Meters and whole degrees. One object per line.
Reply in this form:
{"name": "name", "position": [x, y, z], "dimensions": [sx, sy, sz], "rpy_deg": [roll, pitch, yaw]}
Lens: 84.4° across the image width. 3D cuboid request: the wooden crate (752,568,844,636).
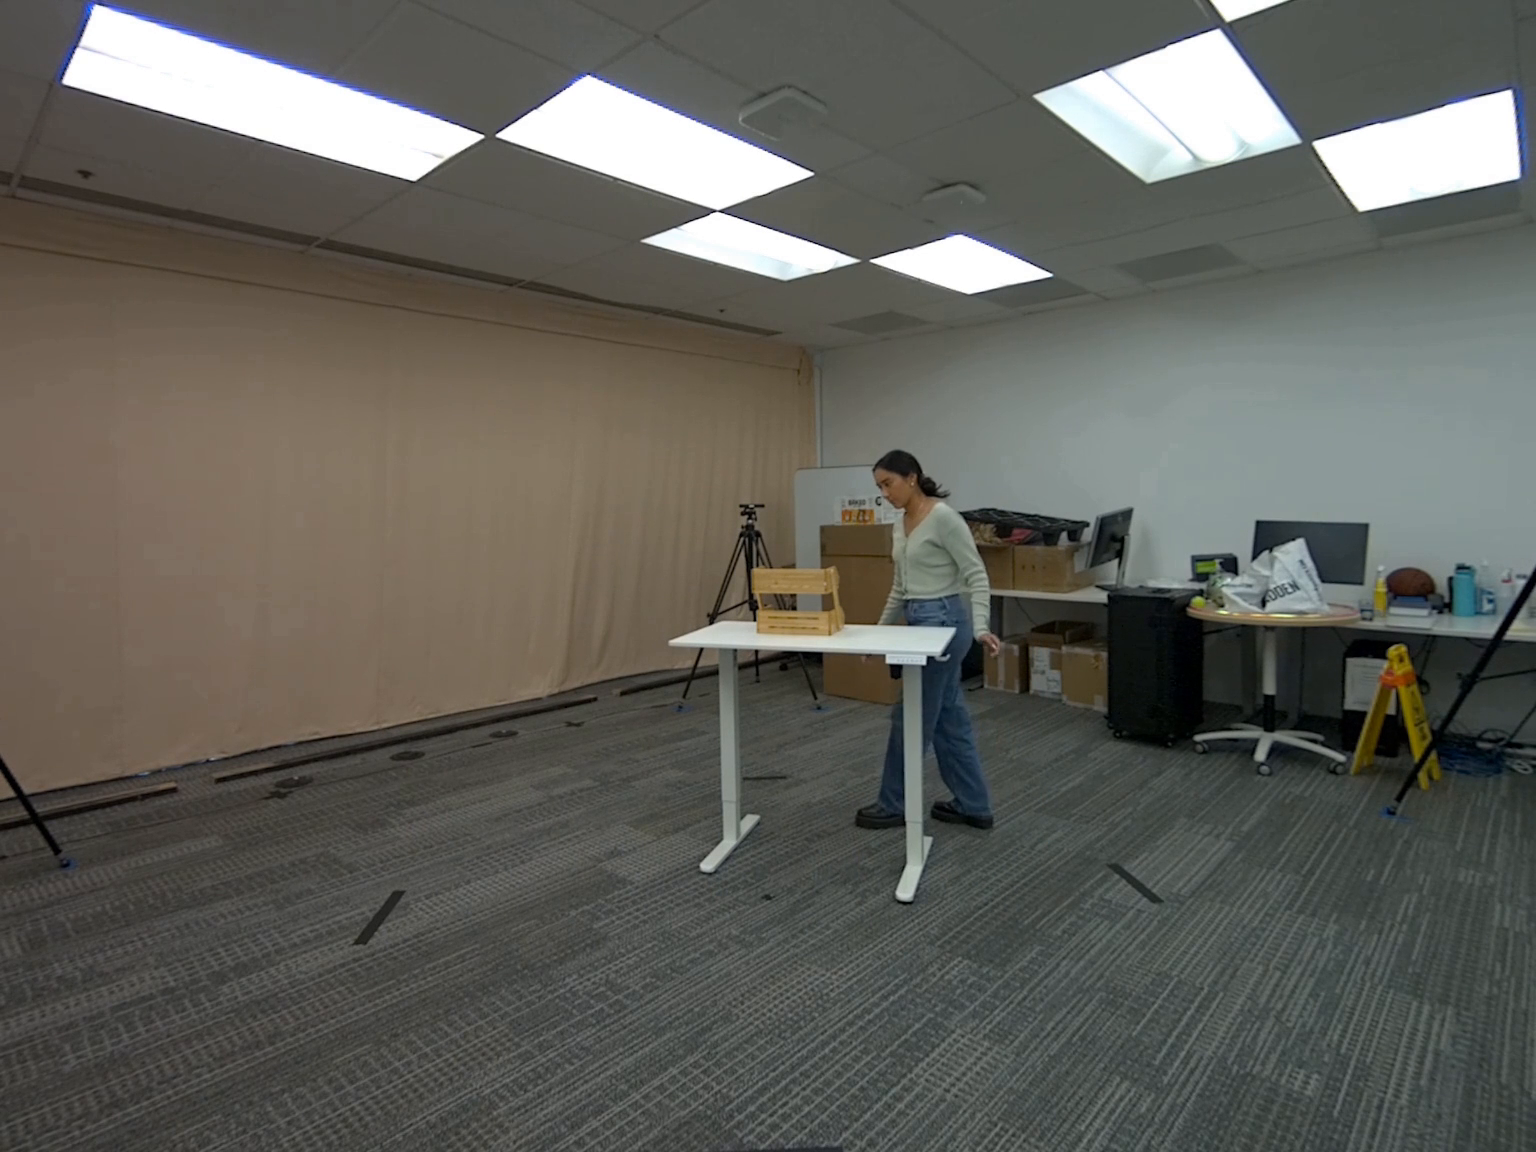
{"name": "wooden crate", "position": [0.123, 0.090, 3.378], "dimensions": [0.330, 0.272, 0.297], "rpy_deg": [0, 4, 17]}
